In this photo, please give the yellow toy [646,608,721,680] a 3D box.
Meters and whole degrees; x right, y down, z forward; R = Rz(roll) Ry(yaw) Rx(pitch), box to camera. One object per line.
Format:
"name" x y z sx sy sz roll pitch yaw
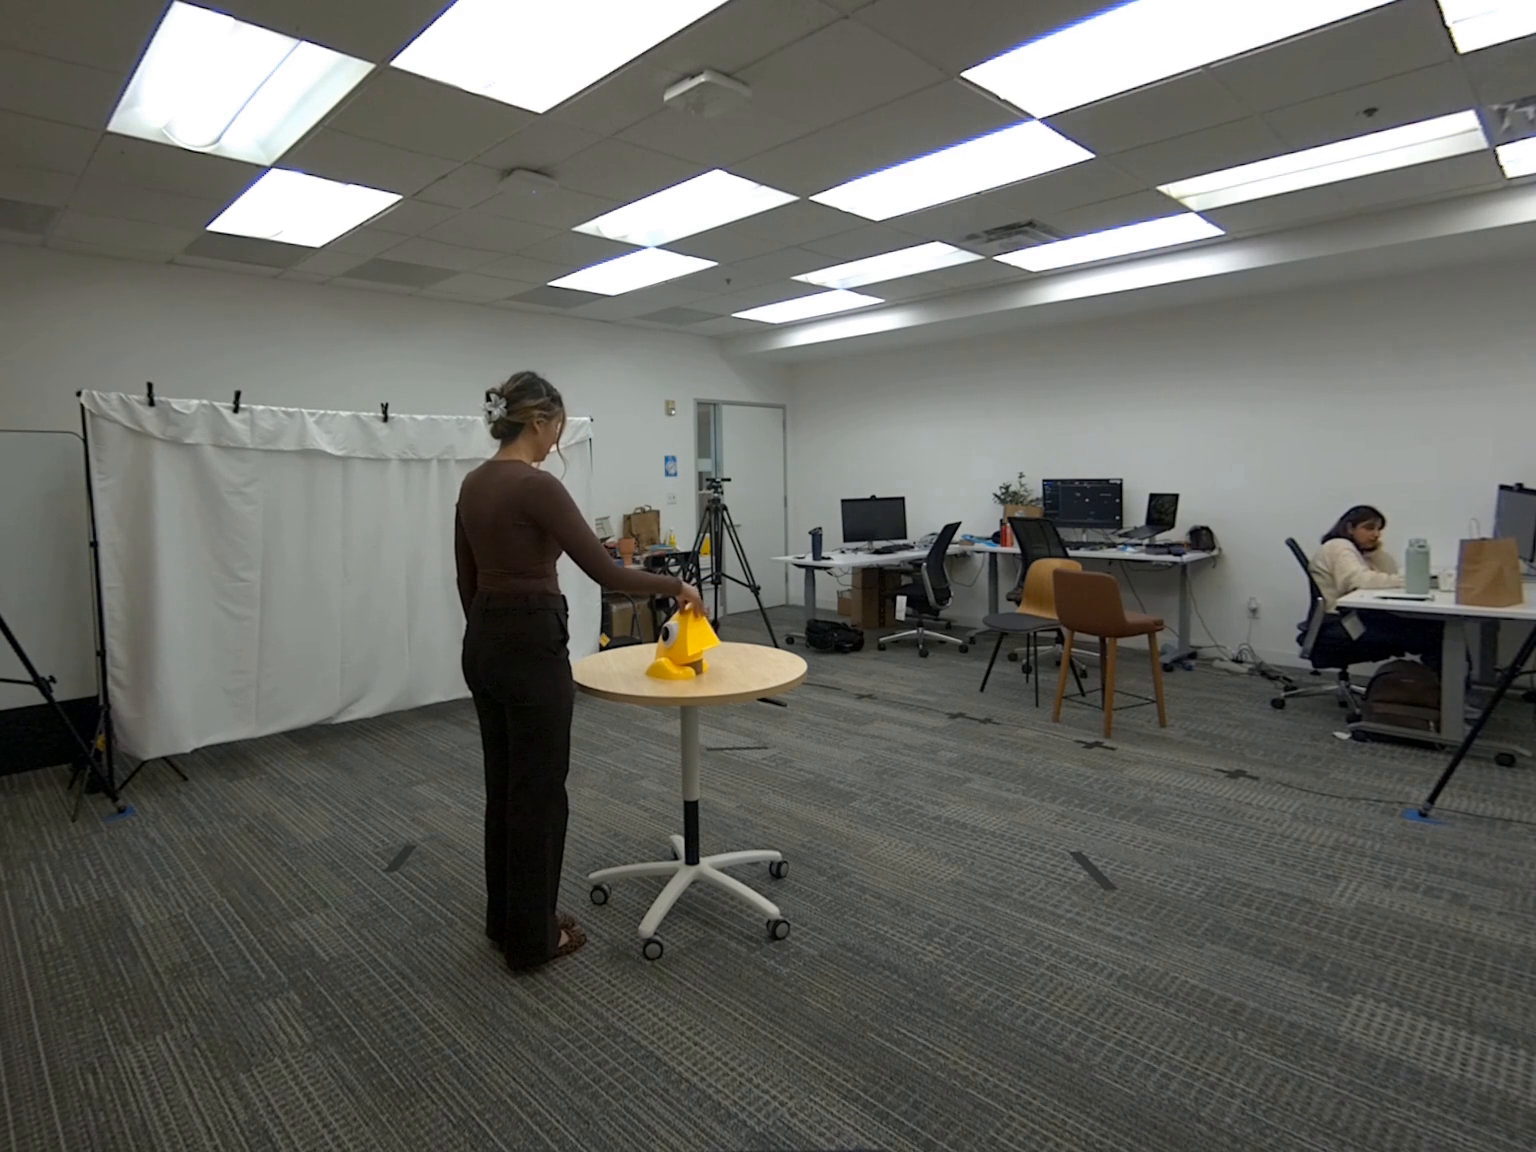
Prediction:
"yellow toy" -0.274 0.188 2.660 0.198 0.230 0.201 1 6 26
